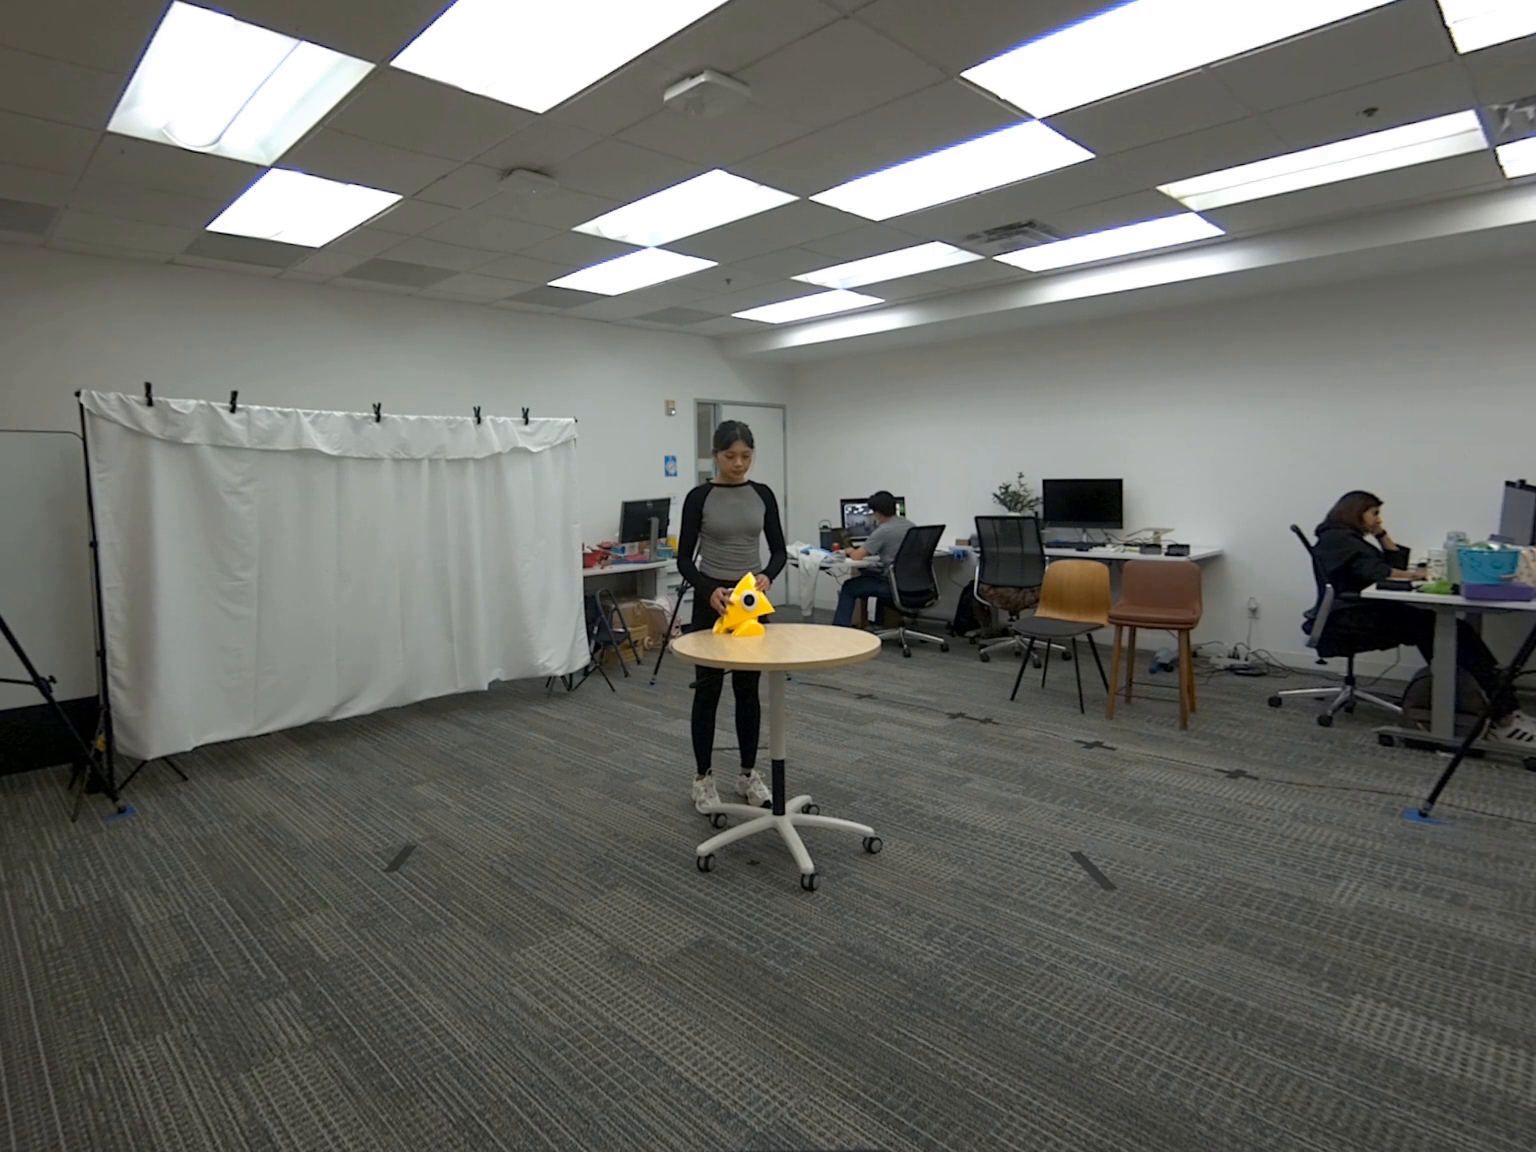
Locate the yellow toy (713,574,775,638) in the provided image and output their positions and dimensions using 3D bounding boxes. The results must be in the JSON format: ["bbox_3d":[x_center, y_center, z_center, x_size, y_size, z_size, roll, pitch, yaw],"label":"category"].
[{"bbox_3d":[-0.118,0.109,3.378,0.211,0.230,0.188,3,7,45],"label":"yellow toy"}]
